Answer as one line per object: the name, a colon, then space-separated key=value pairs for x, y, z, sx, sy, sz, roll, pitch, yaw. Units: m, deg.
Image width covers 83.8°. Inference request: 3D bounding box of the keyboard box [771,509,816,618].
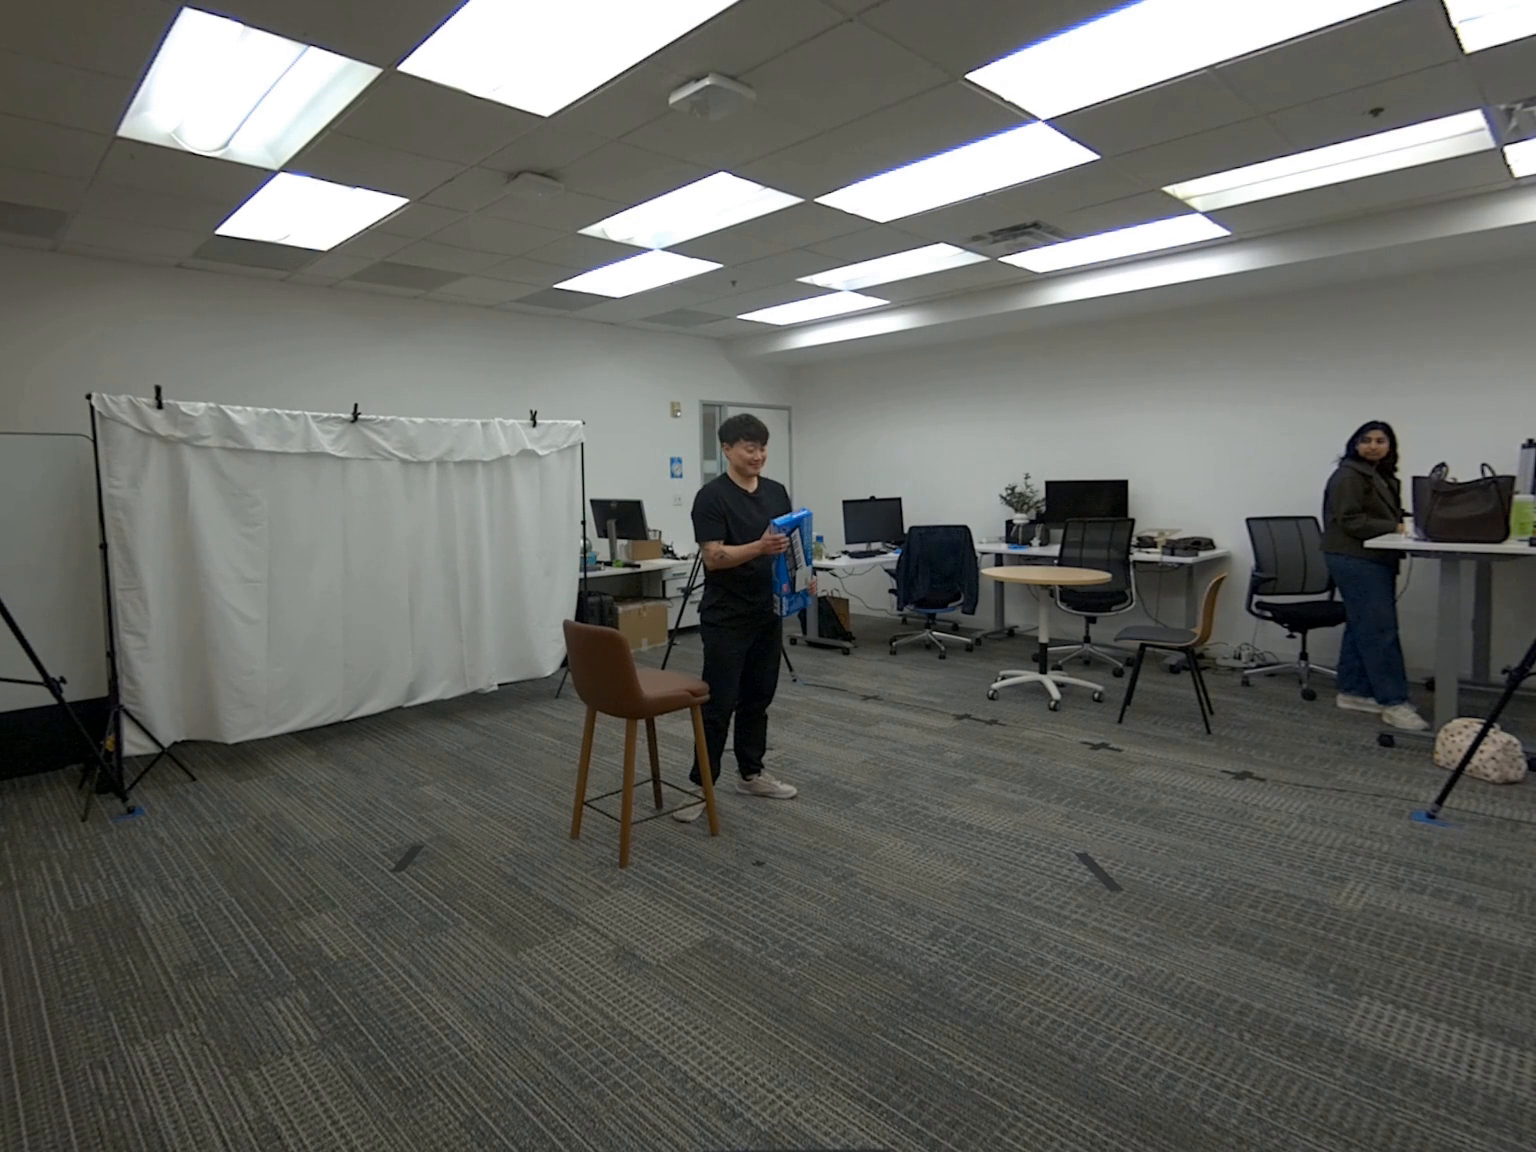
keyboard box: x=0.098 y=-0.048 z=3.470 sx=0.173 sy=0.426 sz=0.061 roll=-21 pitch=34 yaw=-29
